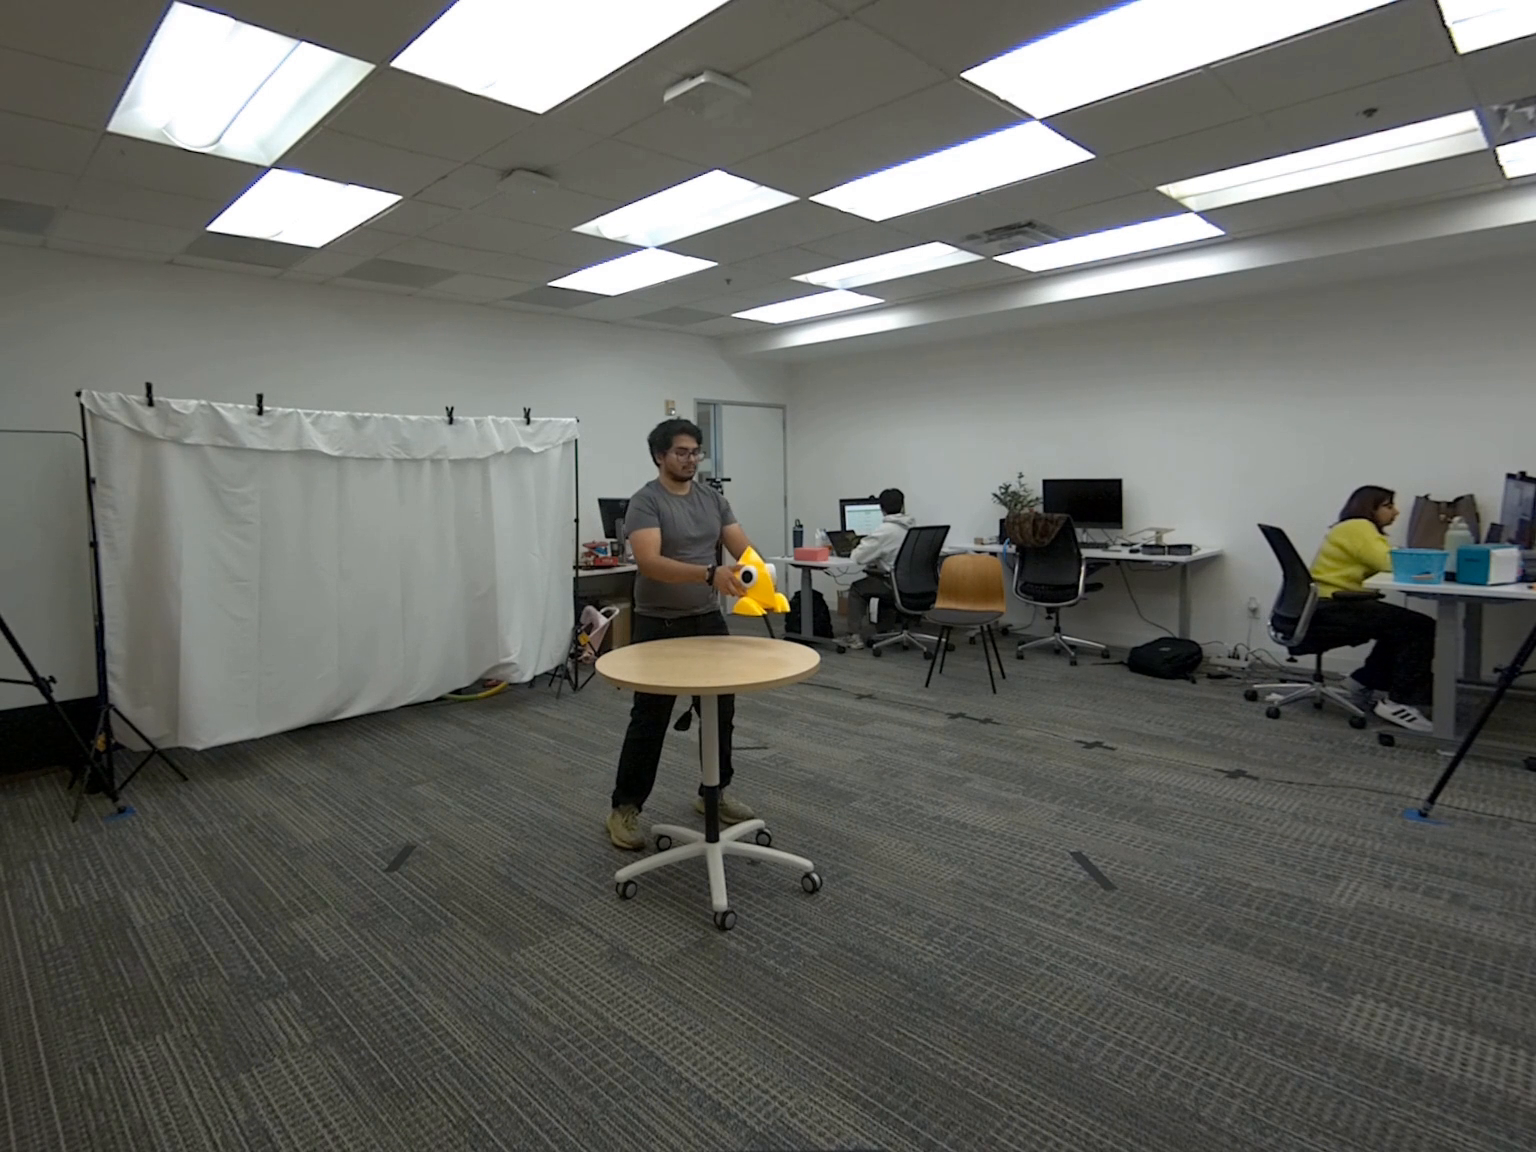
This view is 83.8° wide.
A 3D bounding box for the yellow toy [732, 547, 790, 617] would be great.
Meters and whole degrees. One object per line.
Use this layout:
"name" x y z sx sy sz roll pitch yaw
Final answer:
"yellow toy" -0.034 0.012 3.104 0.199 0.230 0.199 -4 6 -36
